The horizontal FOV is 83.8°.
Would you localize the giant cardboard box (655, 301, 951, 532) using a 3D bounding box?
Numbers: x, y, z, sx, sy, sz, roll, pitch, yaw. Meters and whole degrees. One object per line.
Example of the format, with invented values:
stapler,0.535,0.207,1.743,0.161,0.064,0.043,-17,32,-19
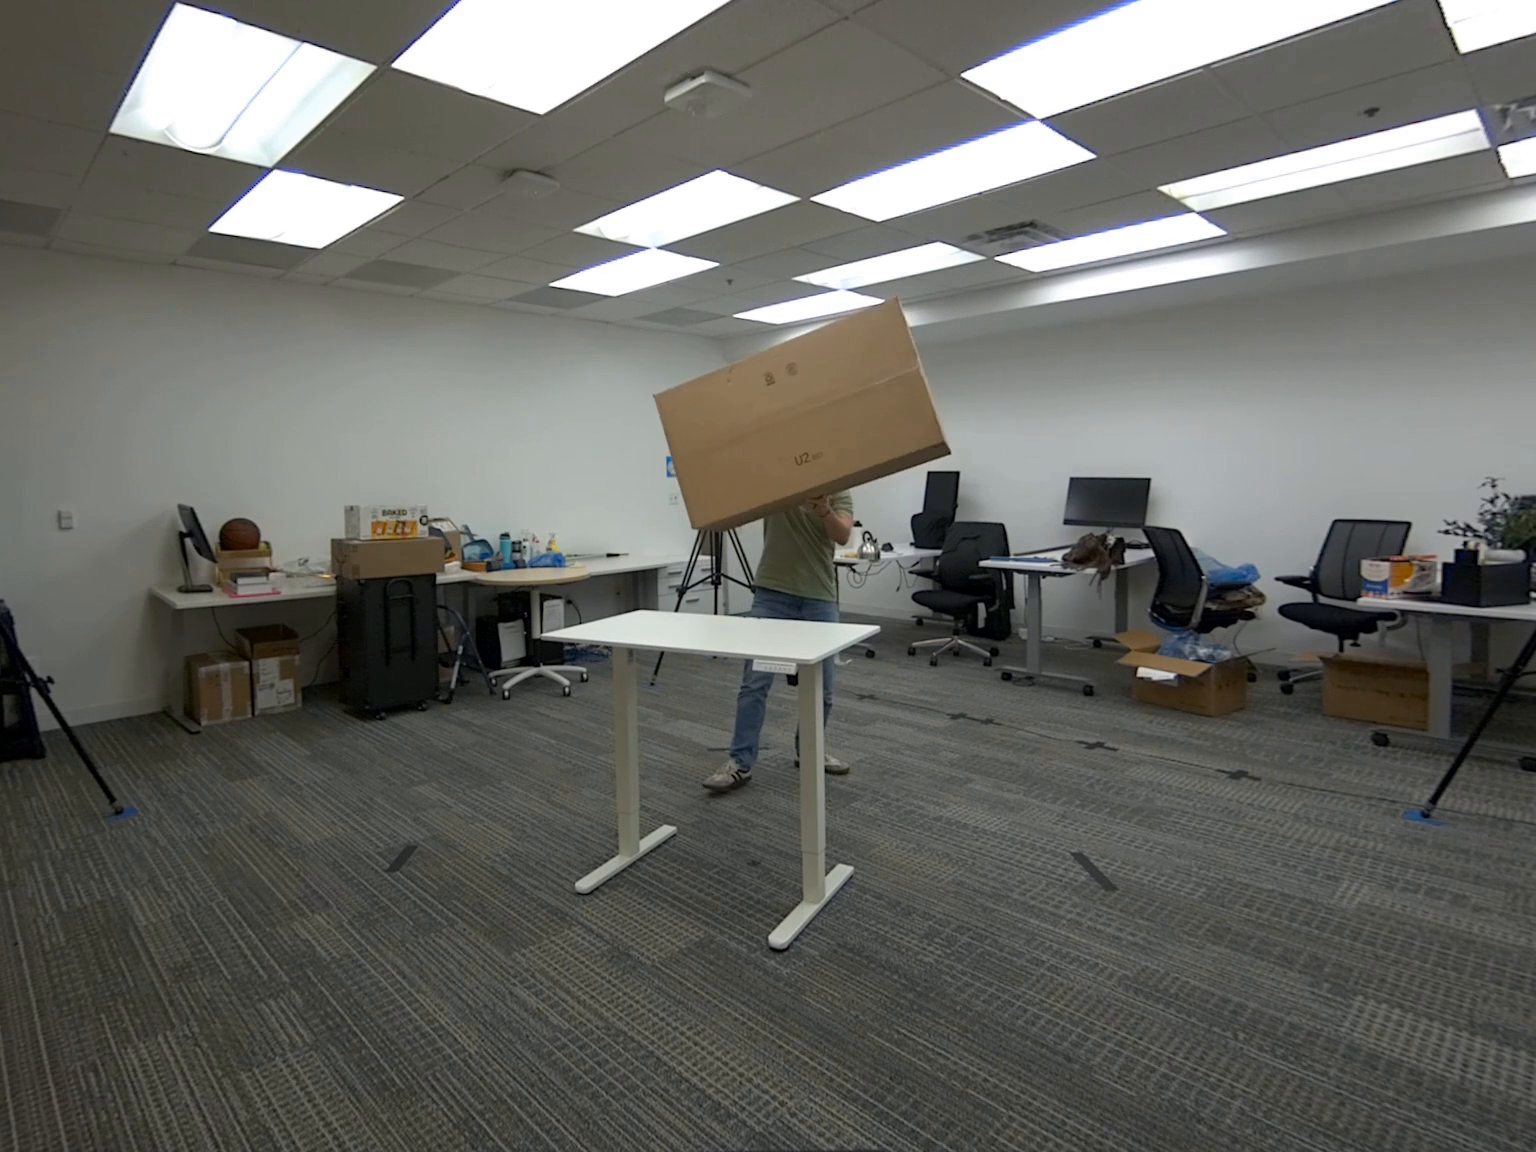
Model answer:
giant cardboard box,0.142,-0.611,3.457,1.037,0.582,0.418,-19,-6,17
